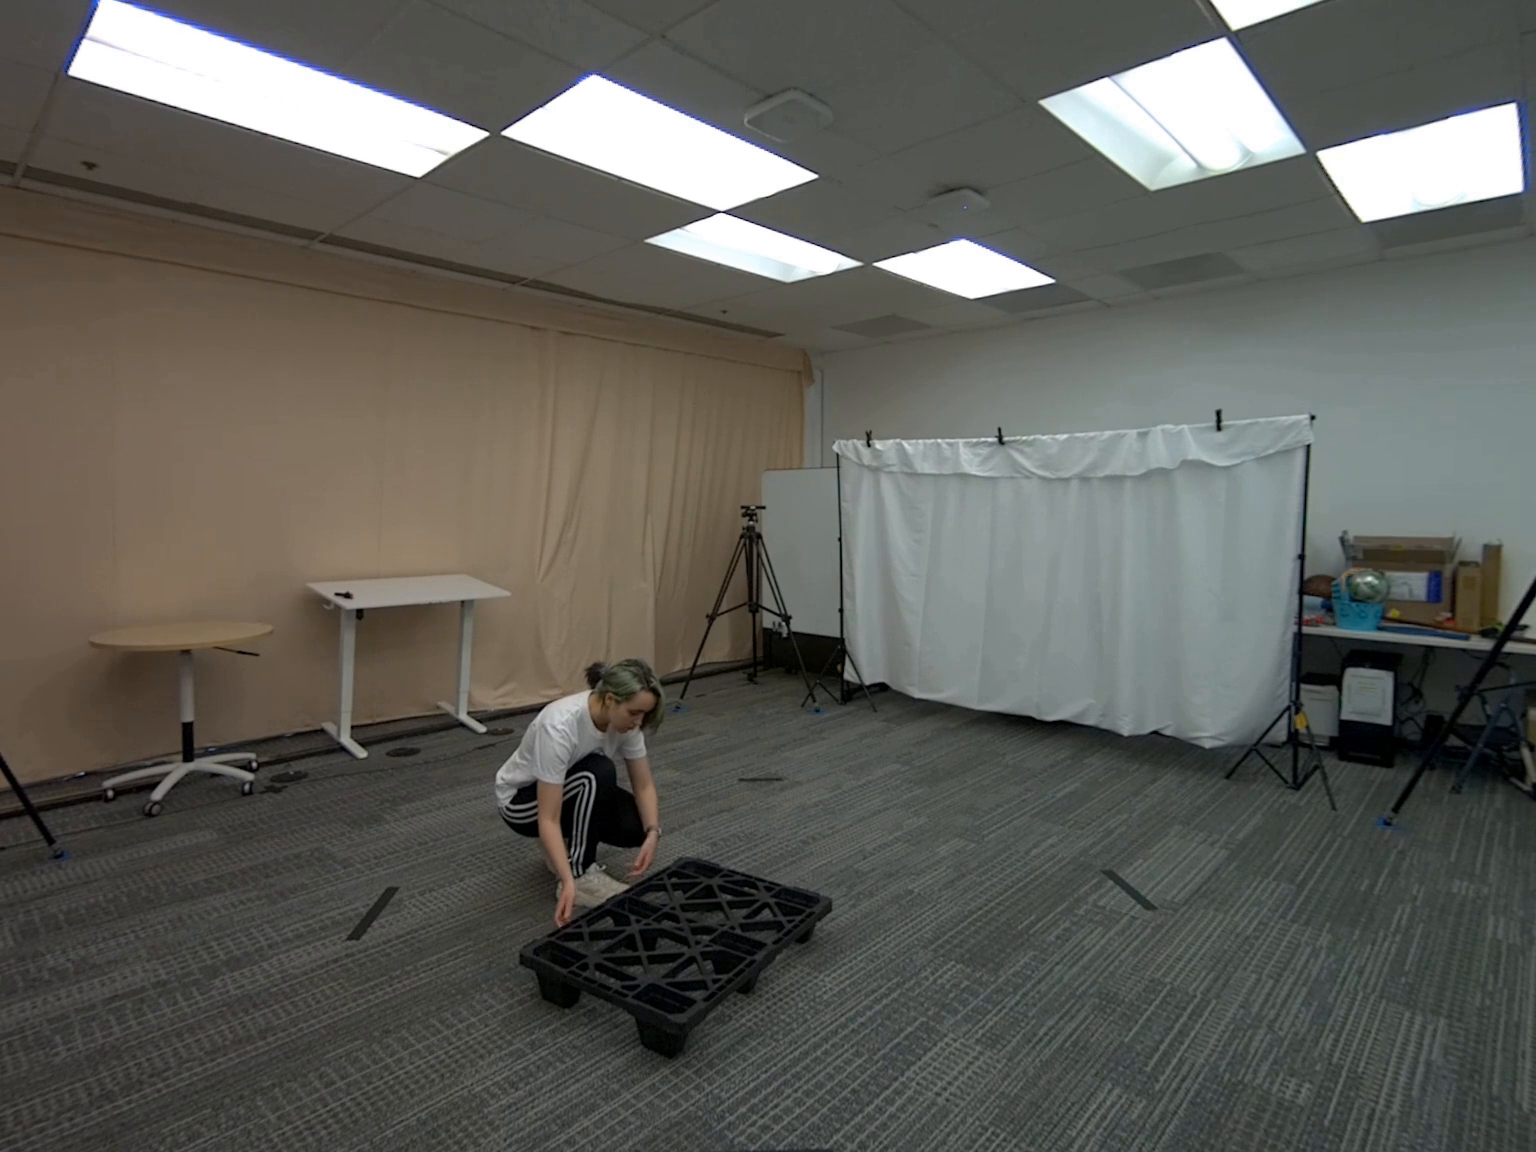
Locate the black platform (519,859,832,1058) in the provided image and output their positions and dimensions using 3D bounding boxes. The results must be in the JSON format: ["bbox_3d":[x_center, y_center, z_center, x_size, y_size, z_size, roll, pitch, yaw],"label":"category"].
[{"bbox_3d":[-0.240,1.115,2.543,0.624,0.143,0.783,3,6,33],"label":"black platform"}]
